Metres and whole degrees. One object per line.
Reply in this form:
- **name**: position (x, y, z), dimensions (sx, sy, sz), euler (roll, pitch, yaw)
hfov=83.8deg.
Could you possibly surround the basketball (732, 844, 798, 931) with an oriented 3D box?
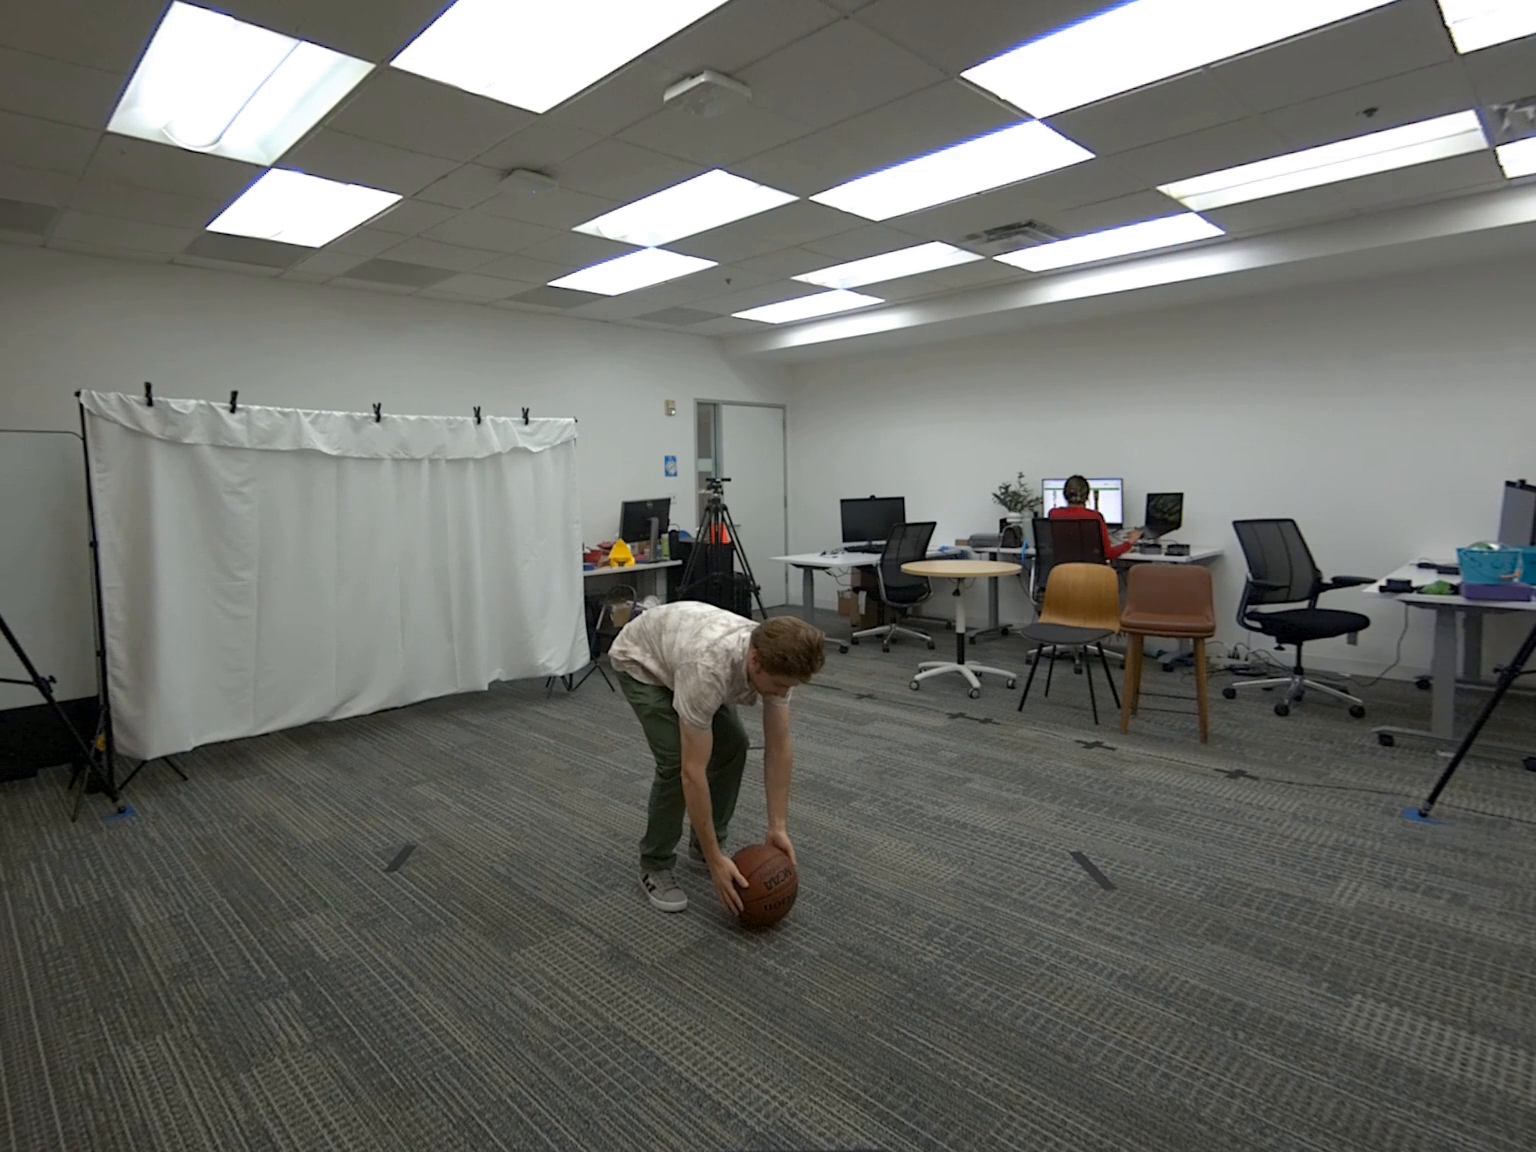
- **basketball**: position (-0.025, 0.966, 2.690), dimensions (0.236, 0.235, 0.237), euler (-1, 5, -2)
